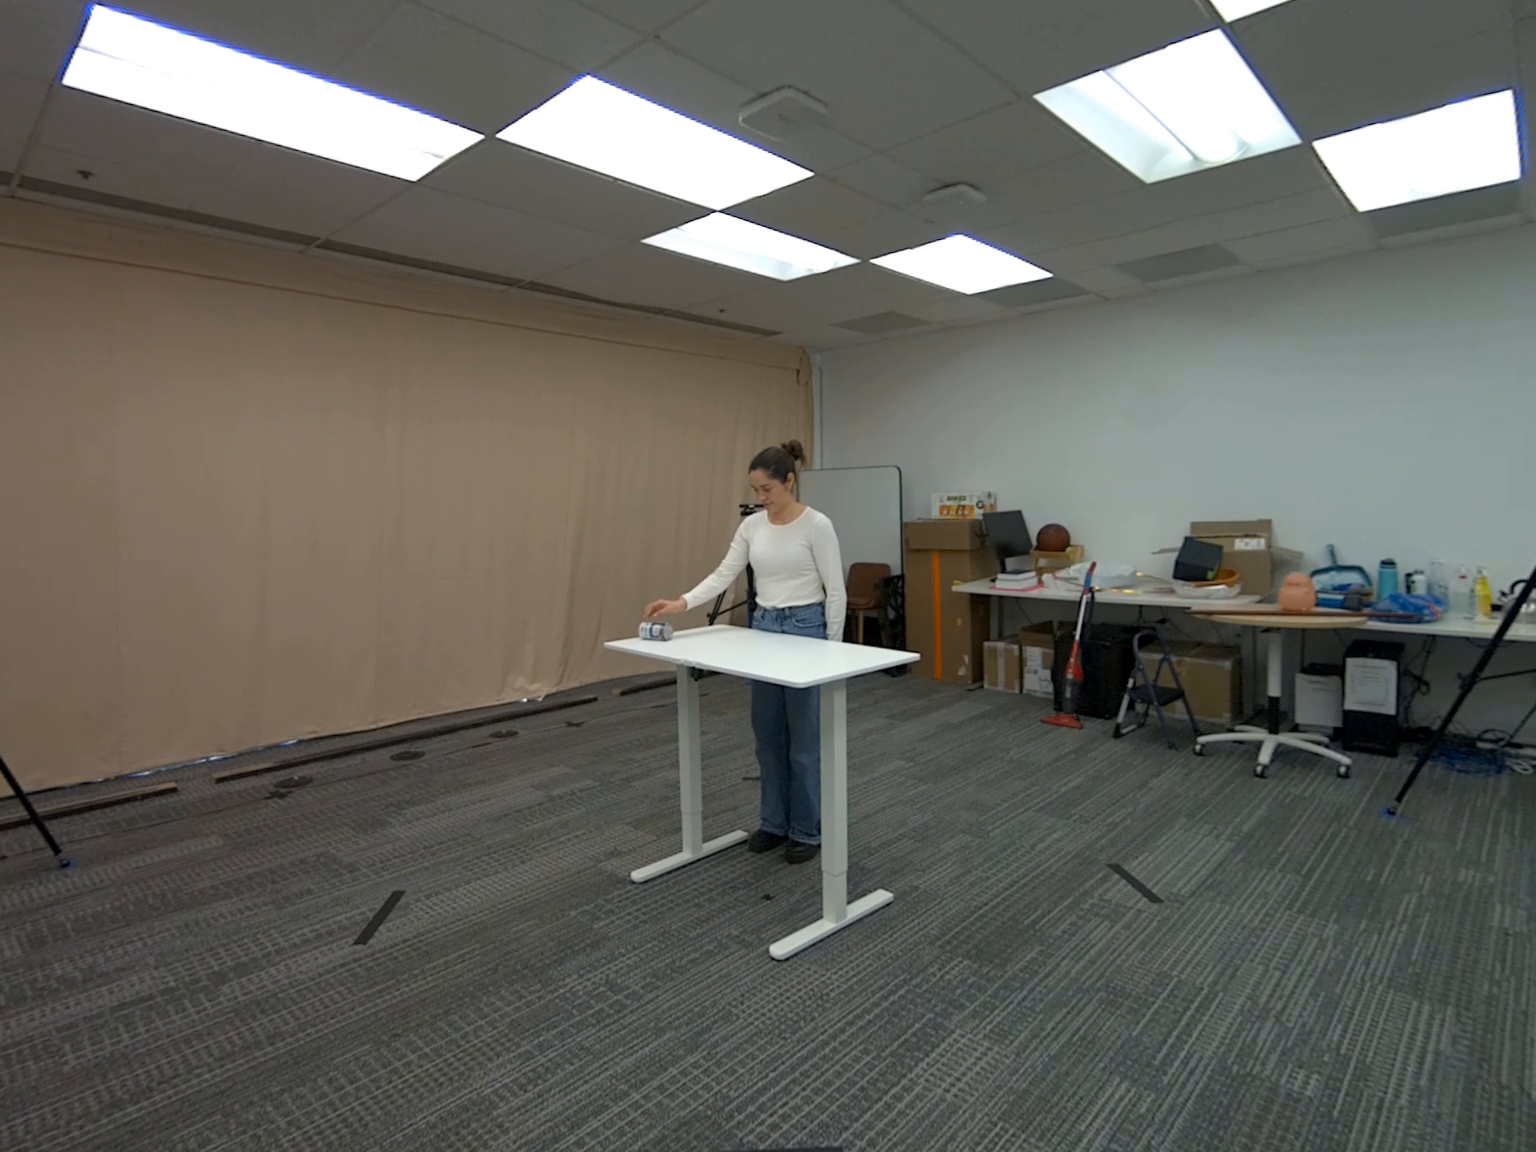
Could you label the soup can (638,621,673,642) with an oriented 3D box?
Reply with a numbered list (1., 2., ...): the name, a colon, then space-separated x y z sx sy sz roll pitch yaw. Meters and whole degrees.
1. soup can: -0.401 0.215 3.189 0.122 0.067 0.067 0 4 6
